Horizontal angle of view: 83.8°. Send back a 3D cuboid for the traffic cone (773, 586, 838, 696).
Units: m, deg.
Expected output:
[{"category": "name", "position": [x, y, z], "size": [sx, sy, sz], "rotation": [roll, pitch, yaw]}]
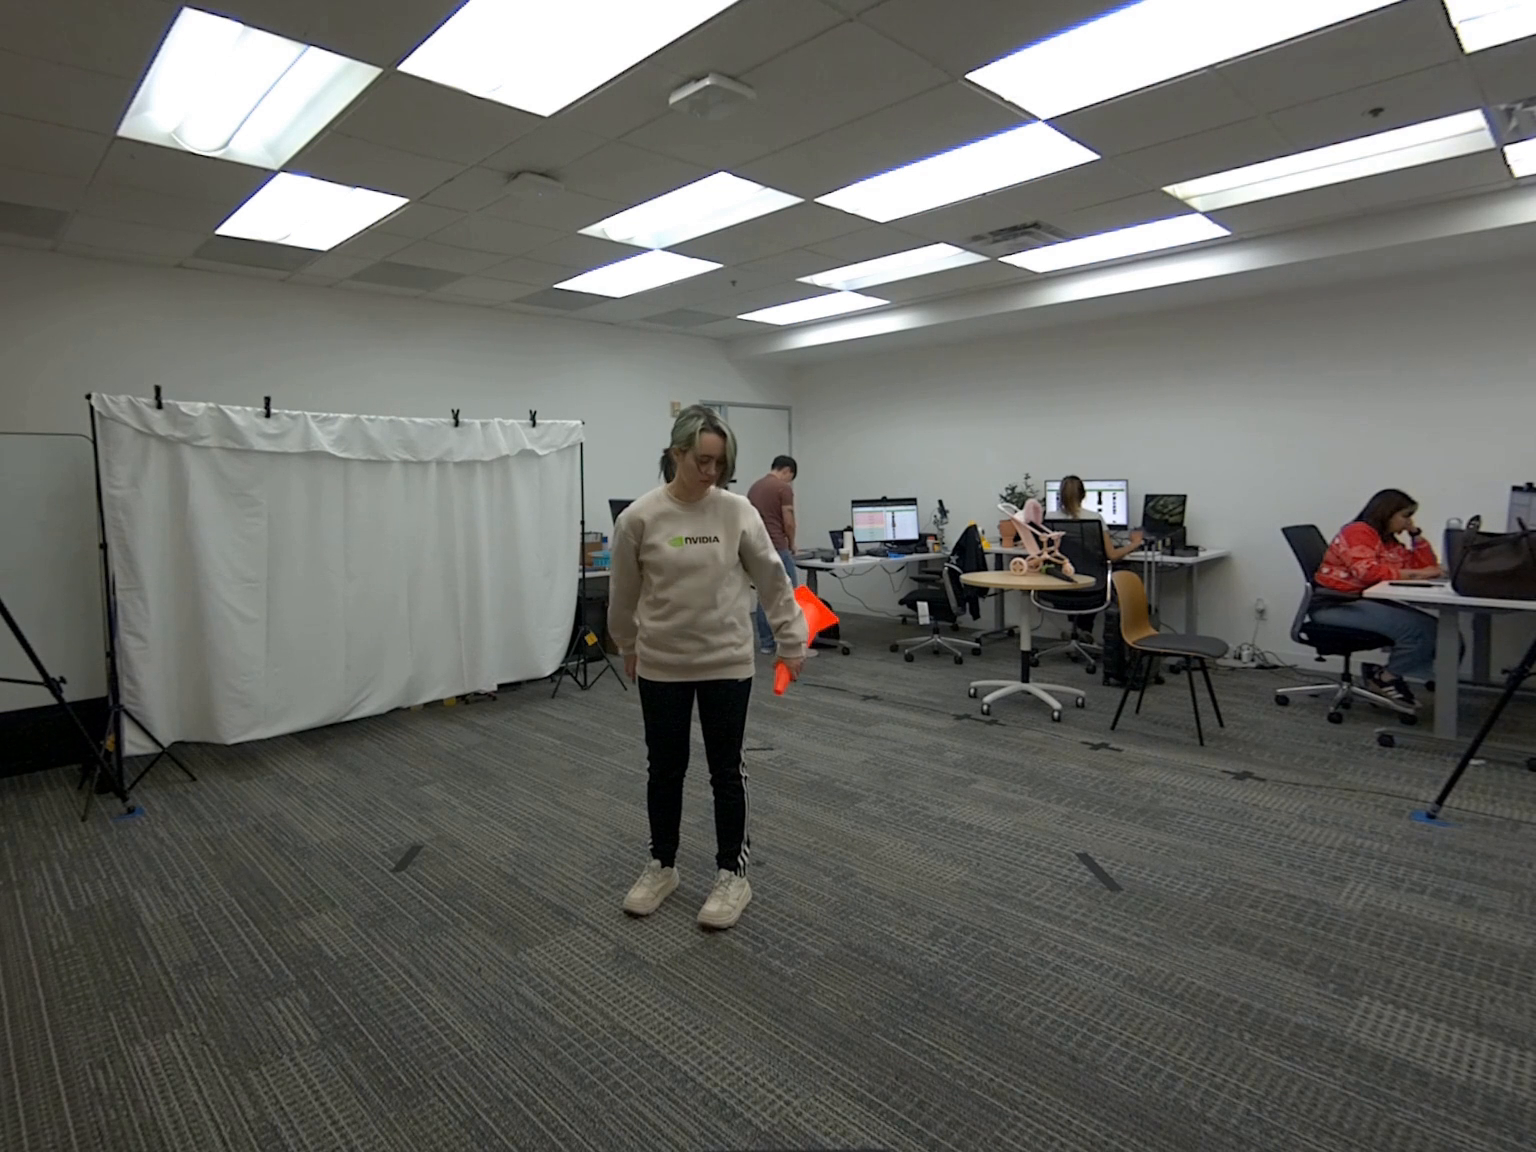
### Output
[{"category": "traffic cone", "position": [0.083, 0.254, 2.939], "size": [0.207, 0.198, 0.389], "rotation": [-32, 26, 36]}]
